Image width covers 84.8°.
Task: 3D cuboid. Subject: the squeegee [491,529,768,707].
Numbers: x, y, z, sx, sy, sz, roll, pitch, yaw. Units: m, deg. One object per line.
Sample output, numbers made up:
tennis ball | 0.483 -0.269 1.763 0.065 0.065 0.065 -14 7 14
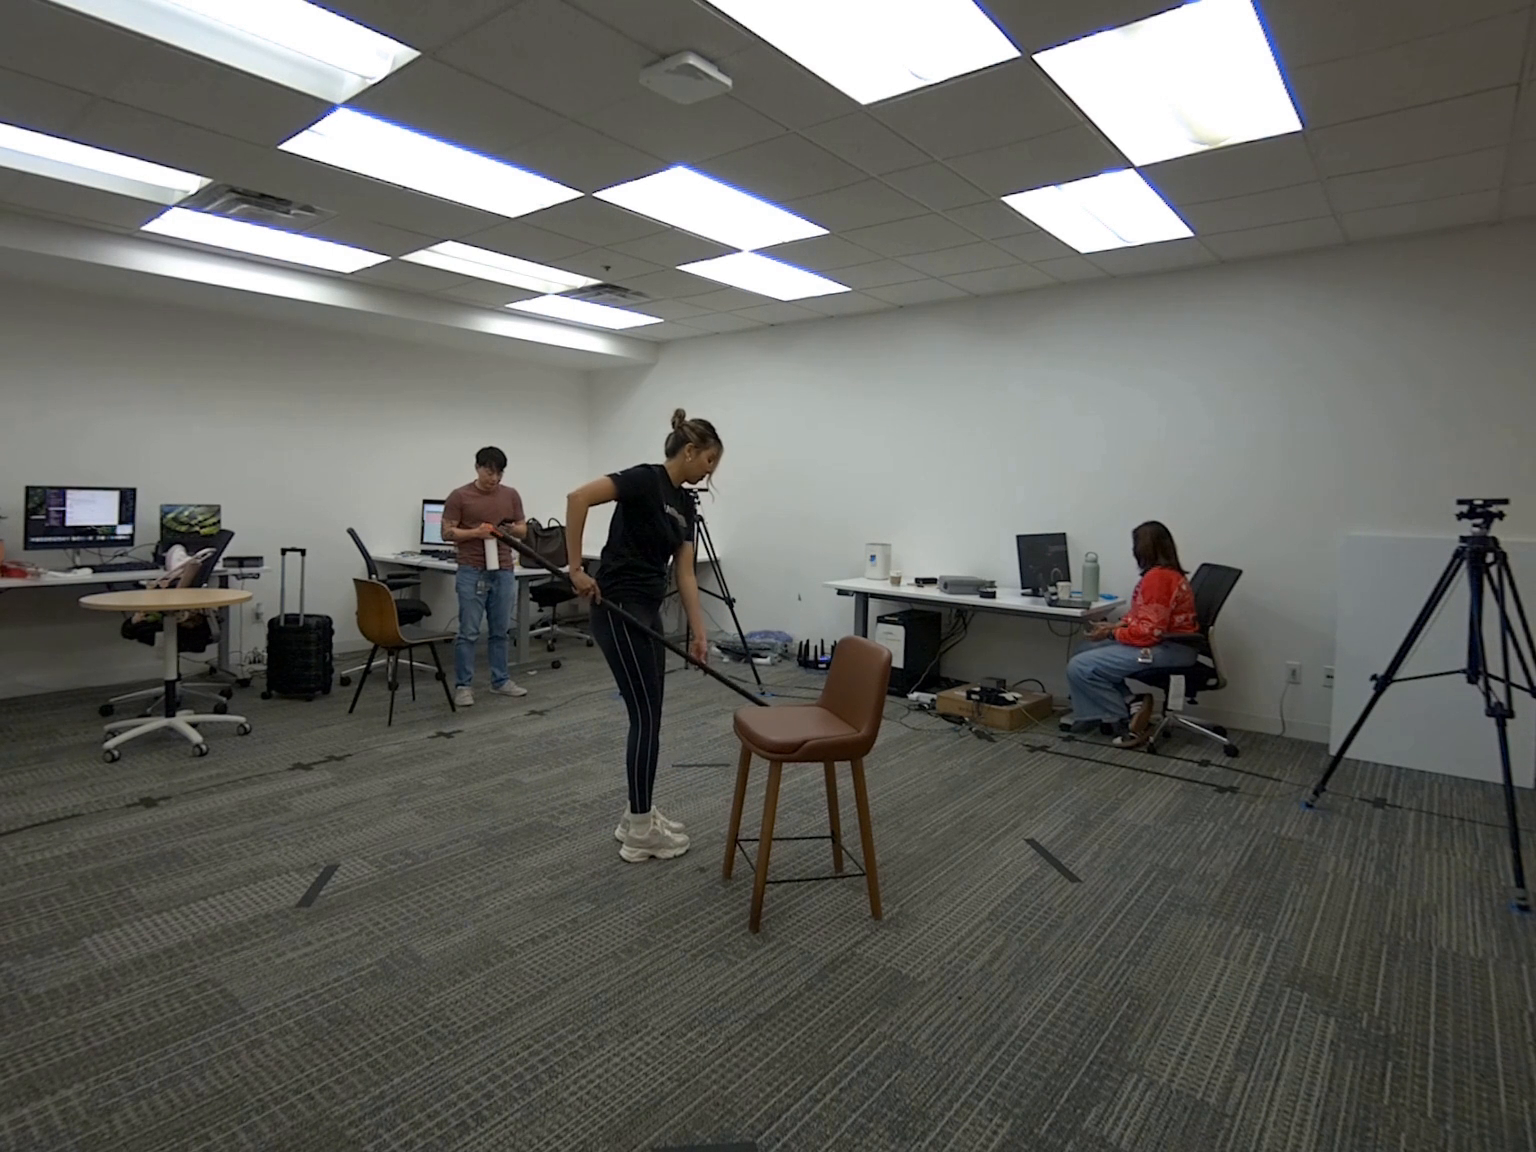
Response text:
squeegee | -0.401 0.229 3.169 1.489 0.054 0.445 38 -37 -25
